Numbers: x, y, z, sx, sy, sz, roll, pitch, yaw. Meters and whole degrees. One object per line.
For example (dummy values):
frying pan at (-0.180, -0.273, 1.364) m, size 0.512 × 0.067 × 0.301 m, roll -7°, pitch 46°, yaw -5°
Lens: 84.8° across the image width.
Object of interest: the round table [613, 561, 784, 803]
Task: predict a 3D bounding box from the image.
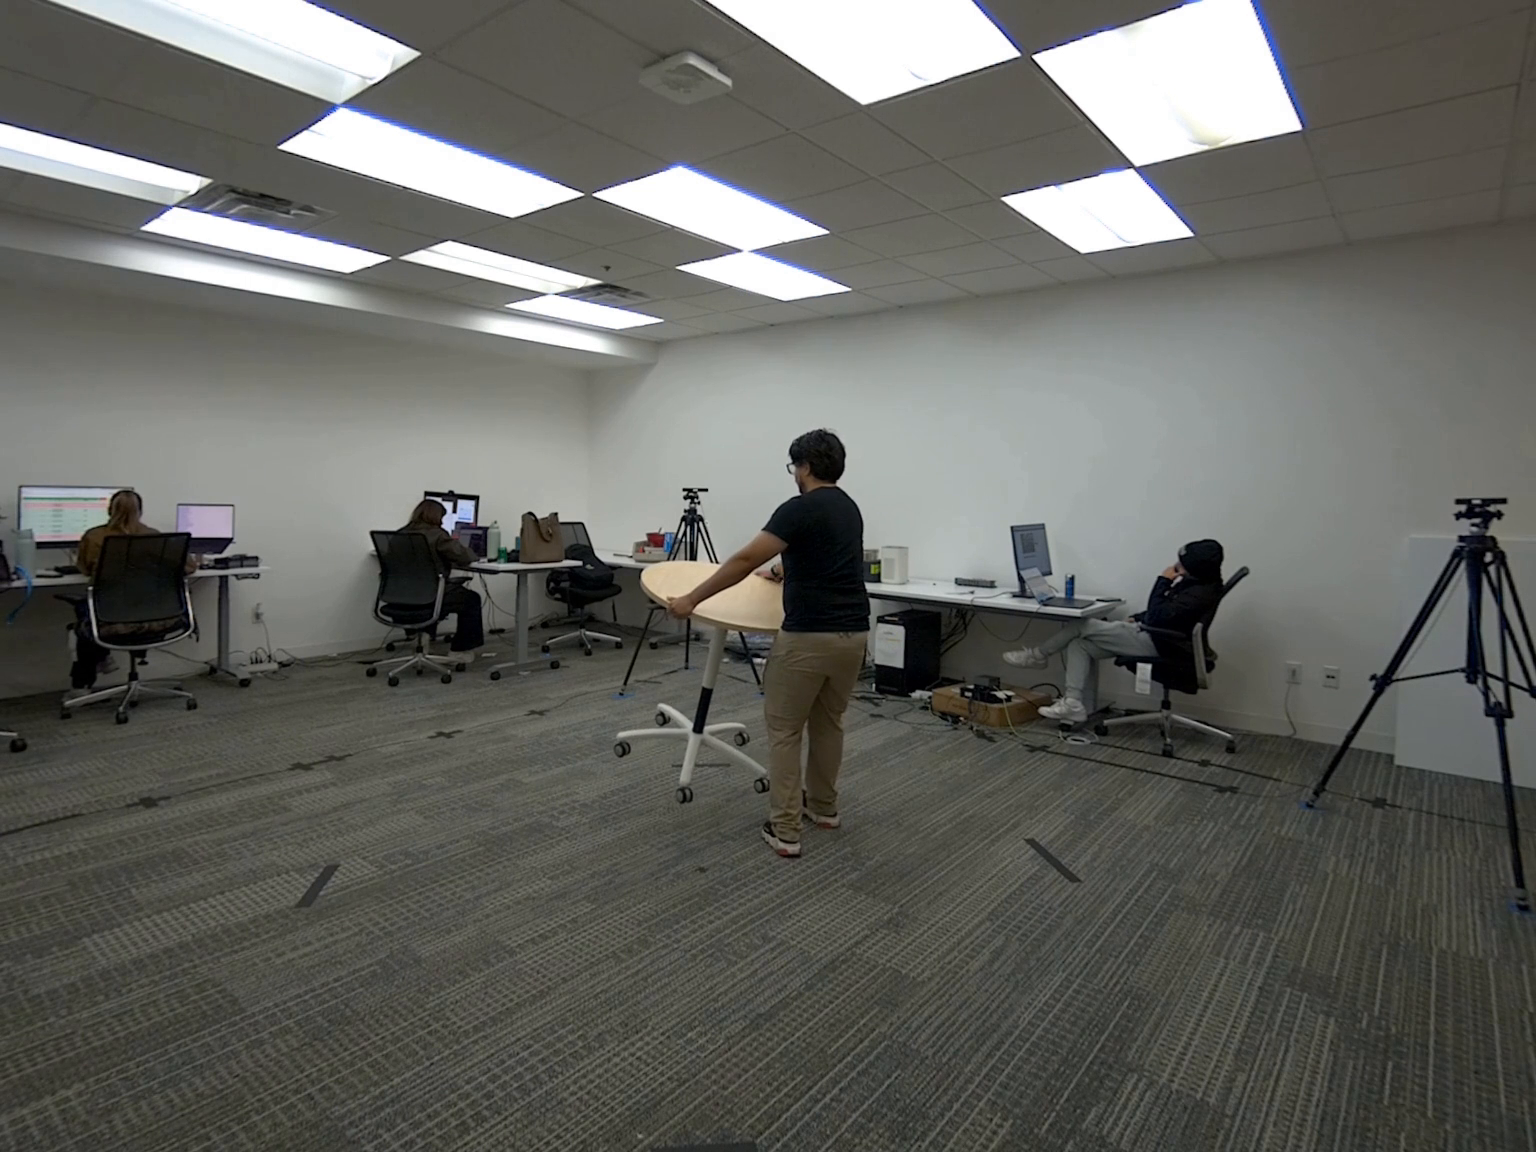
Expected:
round table at (-0.268, 0.444, 3.683) m, size 0.781 × 0.778 × 0.797 m, roll 11°, pitch 15°, yaw -5°
